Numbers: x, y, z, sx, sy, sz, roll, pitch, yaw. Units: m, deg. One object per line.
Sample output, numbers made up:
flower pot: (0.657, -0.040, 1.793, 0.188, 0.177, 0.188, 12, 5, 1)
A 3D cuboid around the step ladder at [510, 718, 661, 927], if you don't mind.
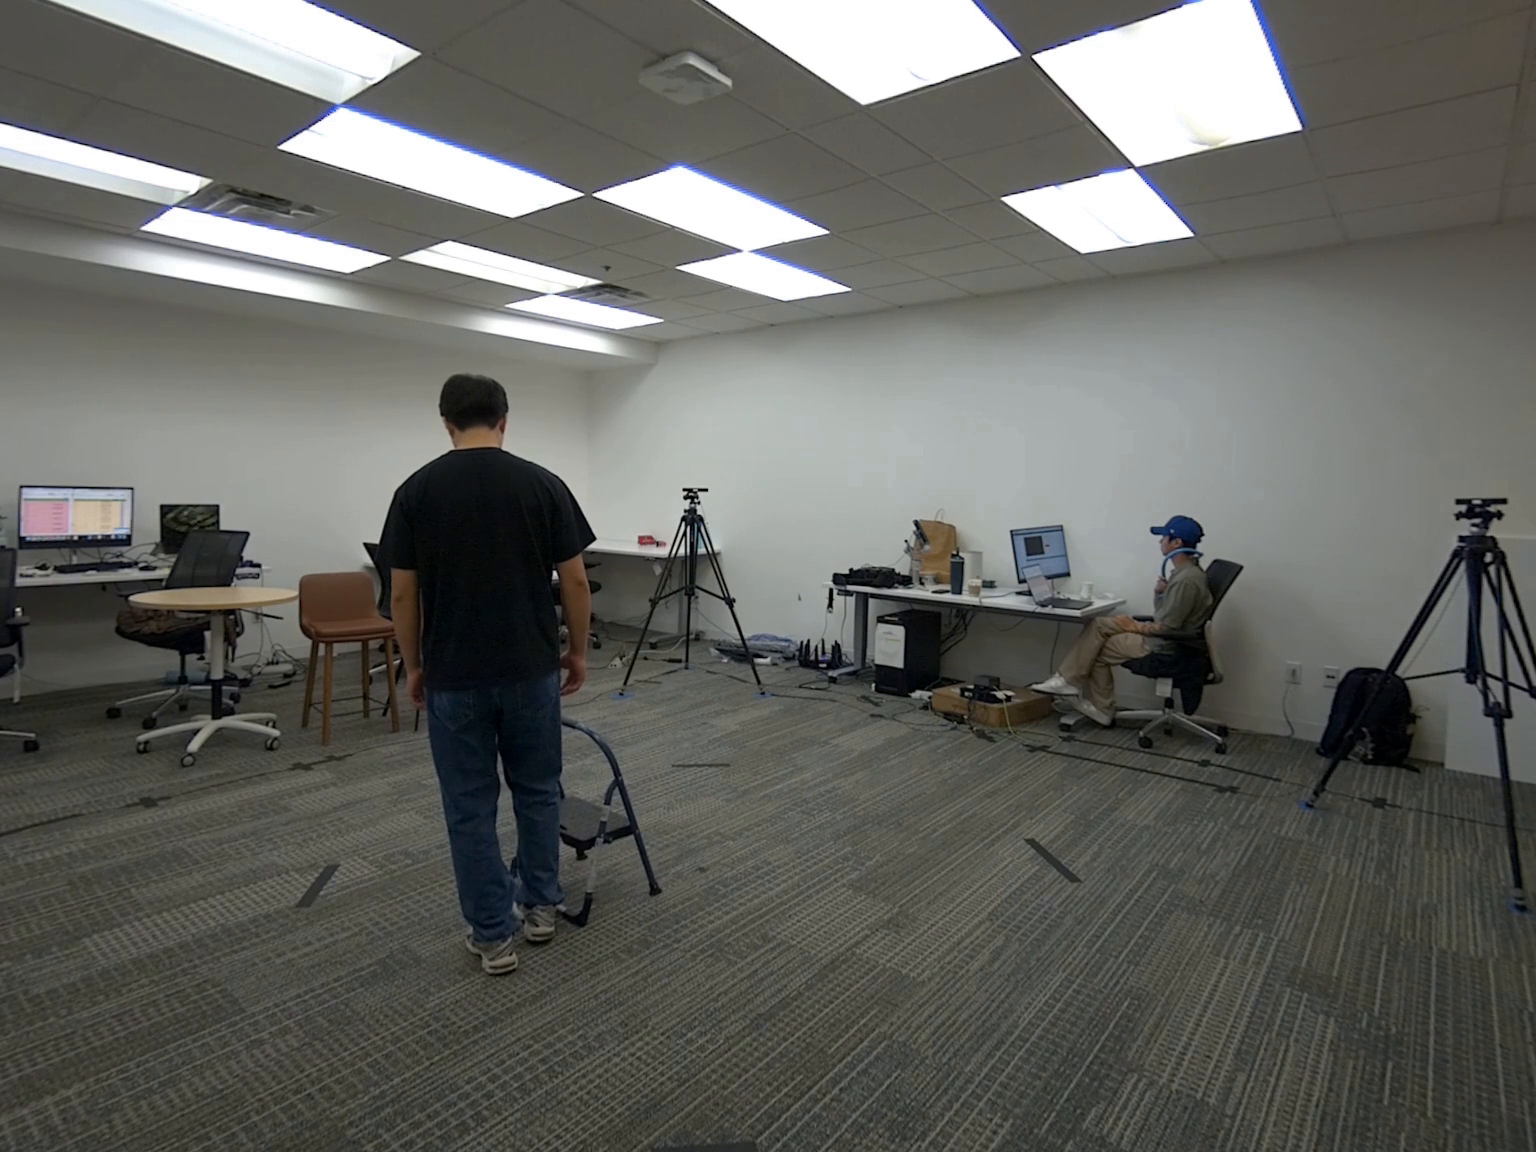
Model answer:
step ladder: (-0.640, 0.777, 2.926, 0.445, 0.604, 0.339, 4, 4, 40)
